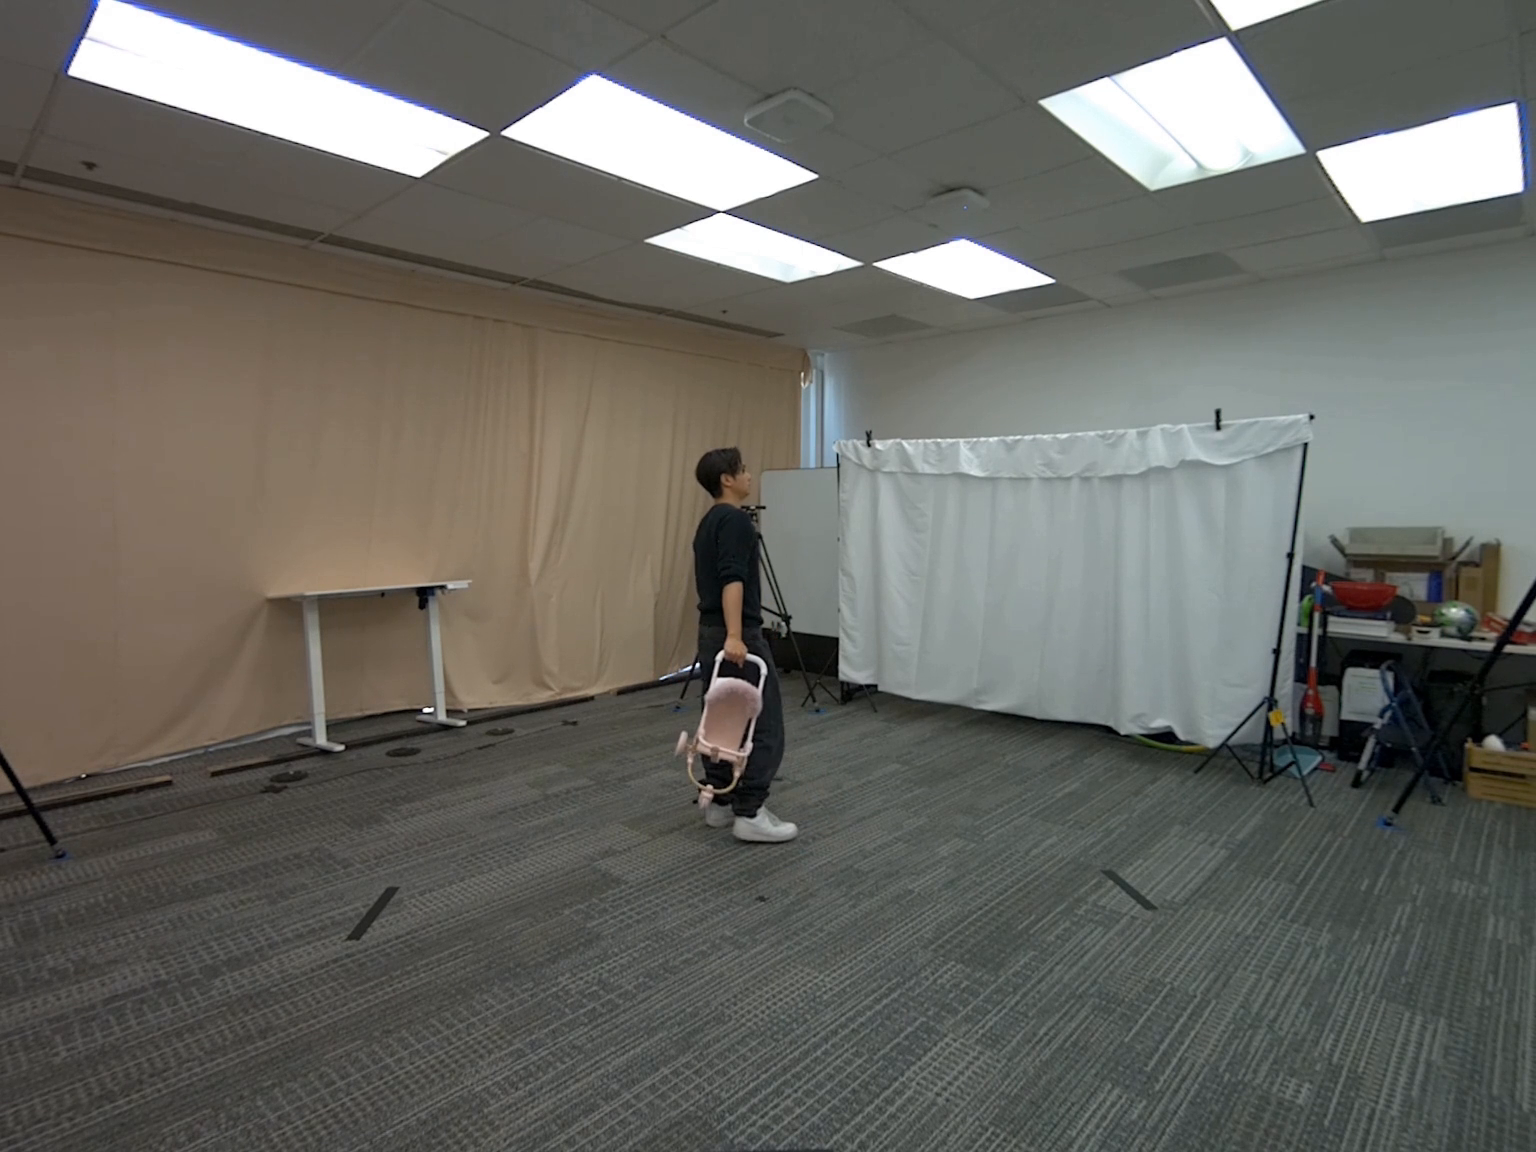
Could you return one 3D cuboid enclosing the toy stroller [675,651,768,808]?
[{"bbox_3d":[-0.165,0.592,3.211,0.281,0.533,0.343,19,13,-4],"label":"toy stroller"}]
